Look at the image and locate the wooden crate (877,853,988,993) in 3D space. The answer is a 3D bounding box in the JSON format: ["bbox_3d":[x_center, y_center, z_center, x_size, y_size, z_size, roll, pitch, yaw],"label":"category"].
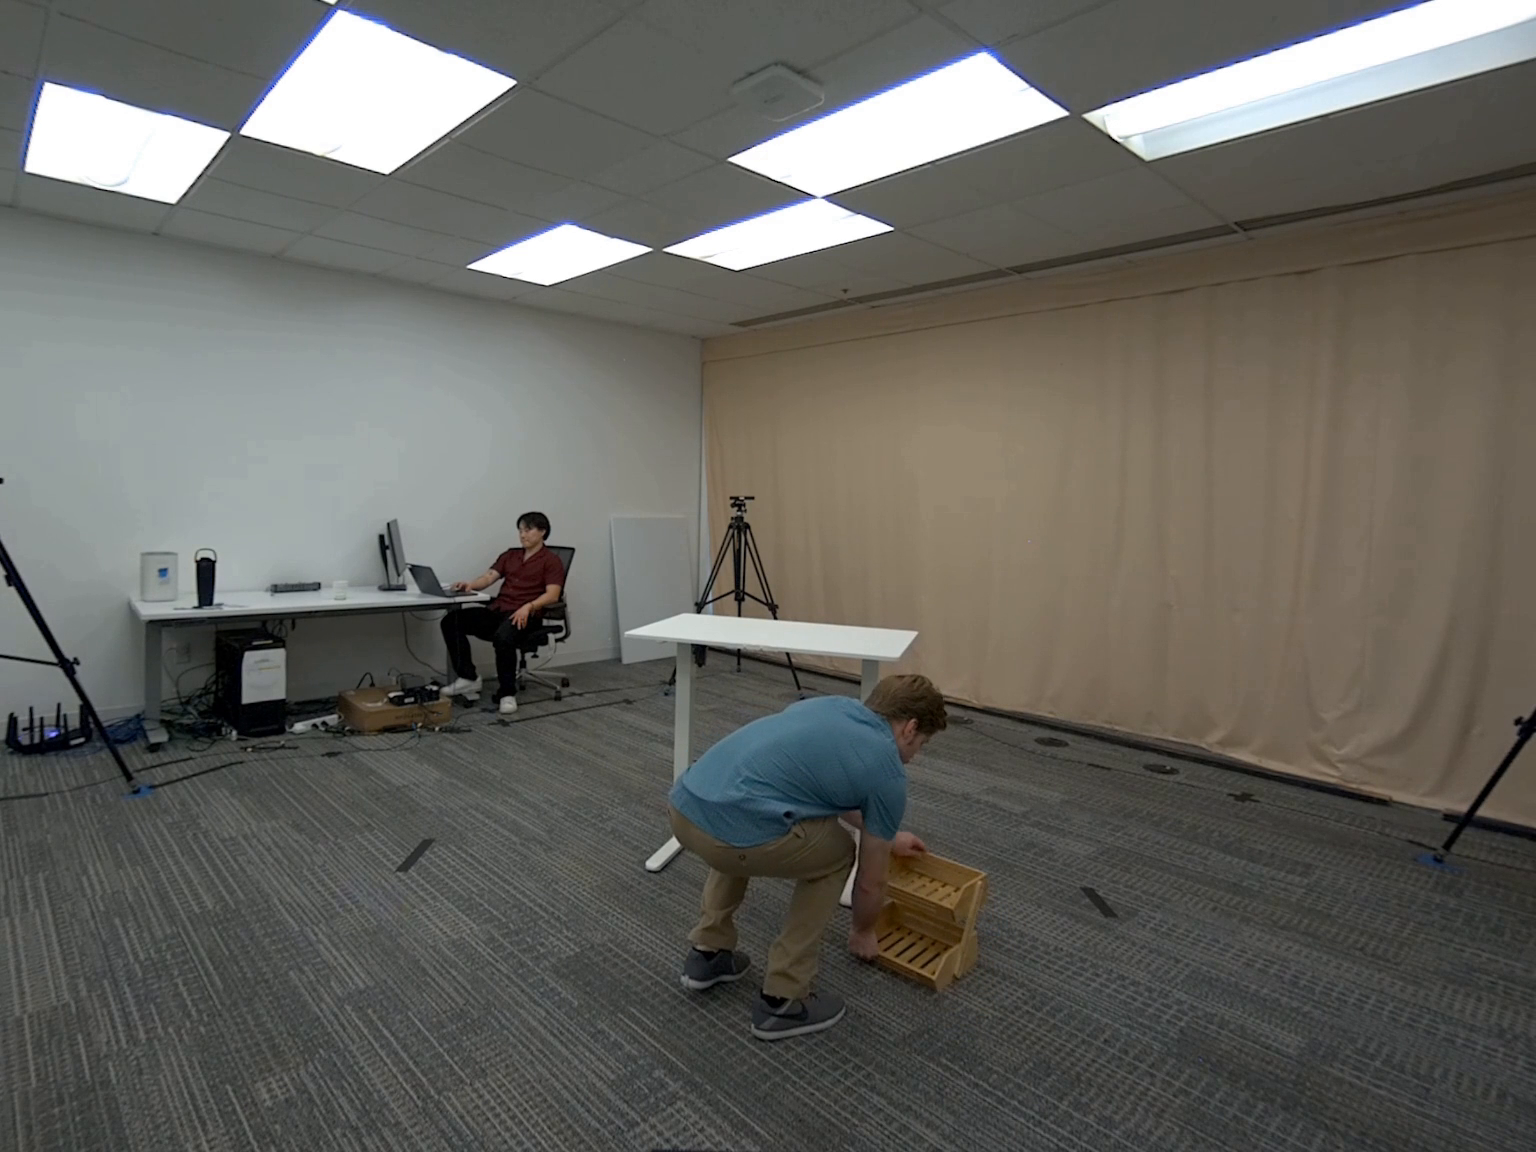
[{"bbox_3d":[0.456,1.035,2.574,0.332,0.273,0.295,4,5,42],"label":"wooden crate"}]
